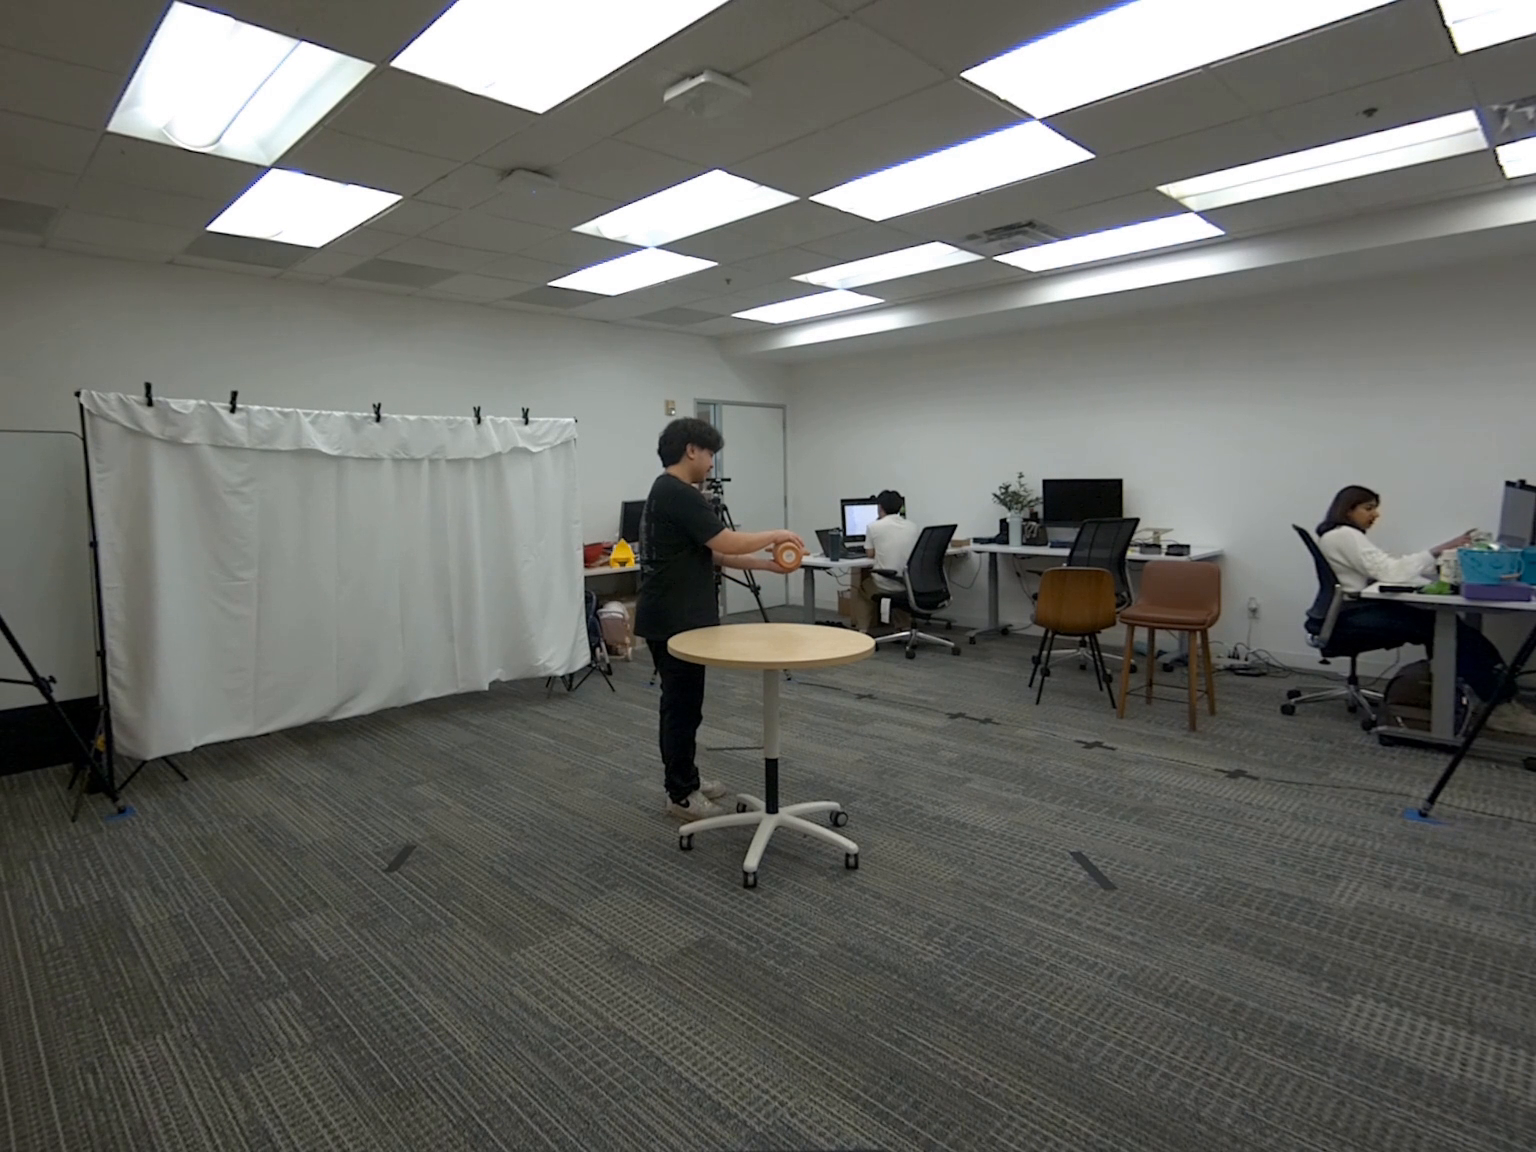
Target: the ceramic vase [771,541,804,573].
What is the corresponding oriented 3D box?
[{"bbox_3d":[0.082,-0.101,3.666,0.159,0.133,0.221,-33,8,5],"label":"ceramic vase"}]
